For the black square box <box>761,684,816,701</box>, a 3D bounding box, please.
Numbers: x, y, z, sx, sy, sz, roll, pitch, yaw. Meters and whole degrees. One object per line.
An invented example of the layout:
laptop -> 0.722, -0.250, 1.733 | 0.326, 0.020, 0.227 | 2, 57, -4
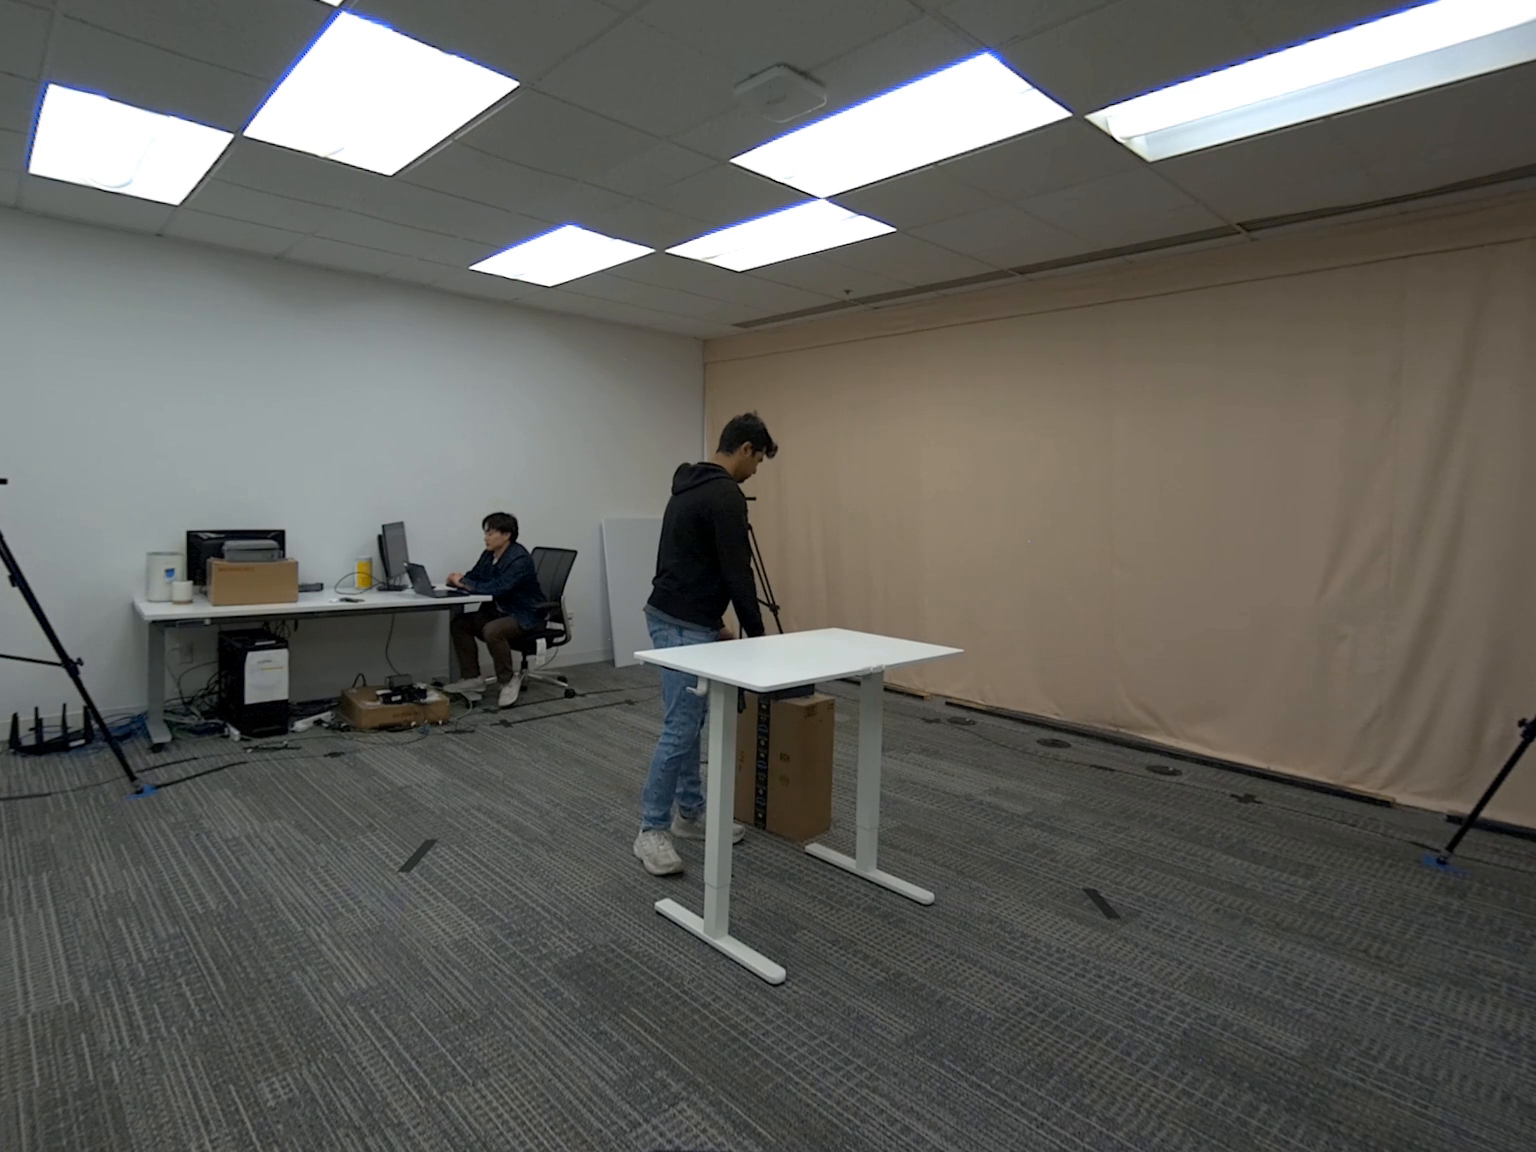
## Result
black square box -> 0.046, 0.425, 3.623 | 0.212, 0.155, 0.233 | -2, 6, -38
